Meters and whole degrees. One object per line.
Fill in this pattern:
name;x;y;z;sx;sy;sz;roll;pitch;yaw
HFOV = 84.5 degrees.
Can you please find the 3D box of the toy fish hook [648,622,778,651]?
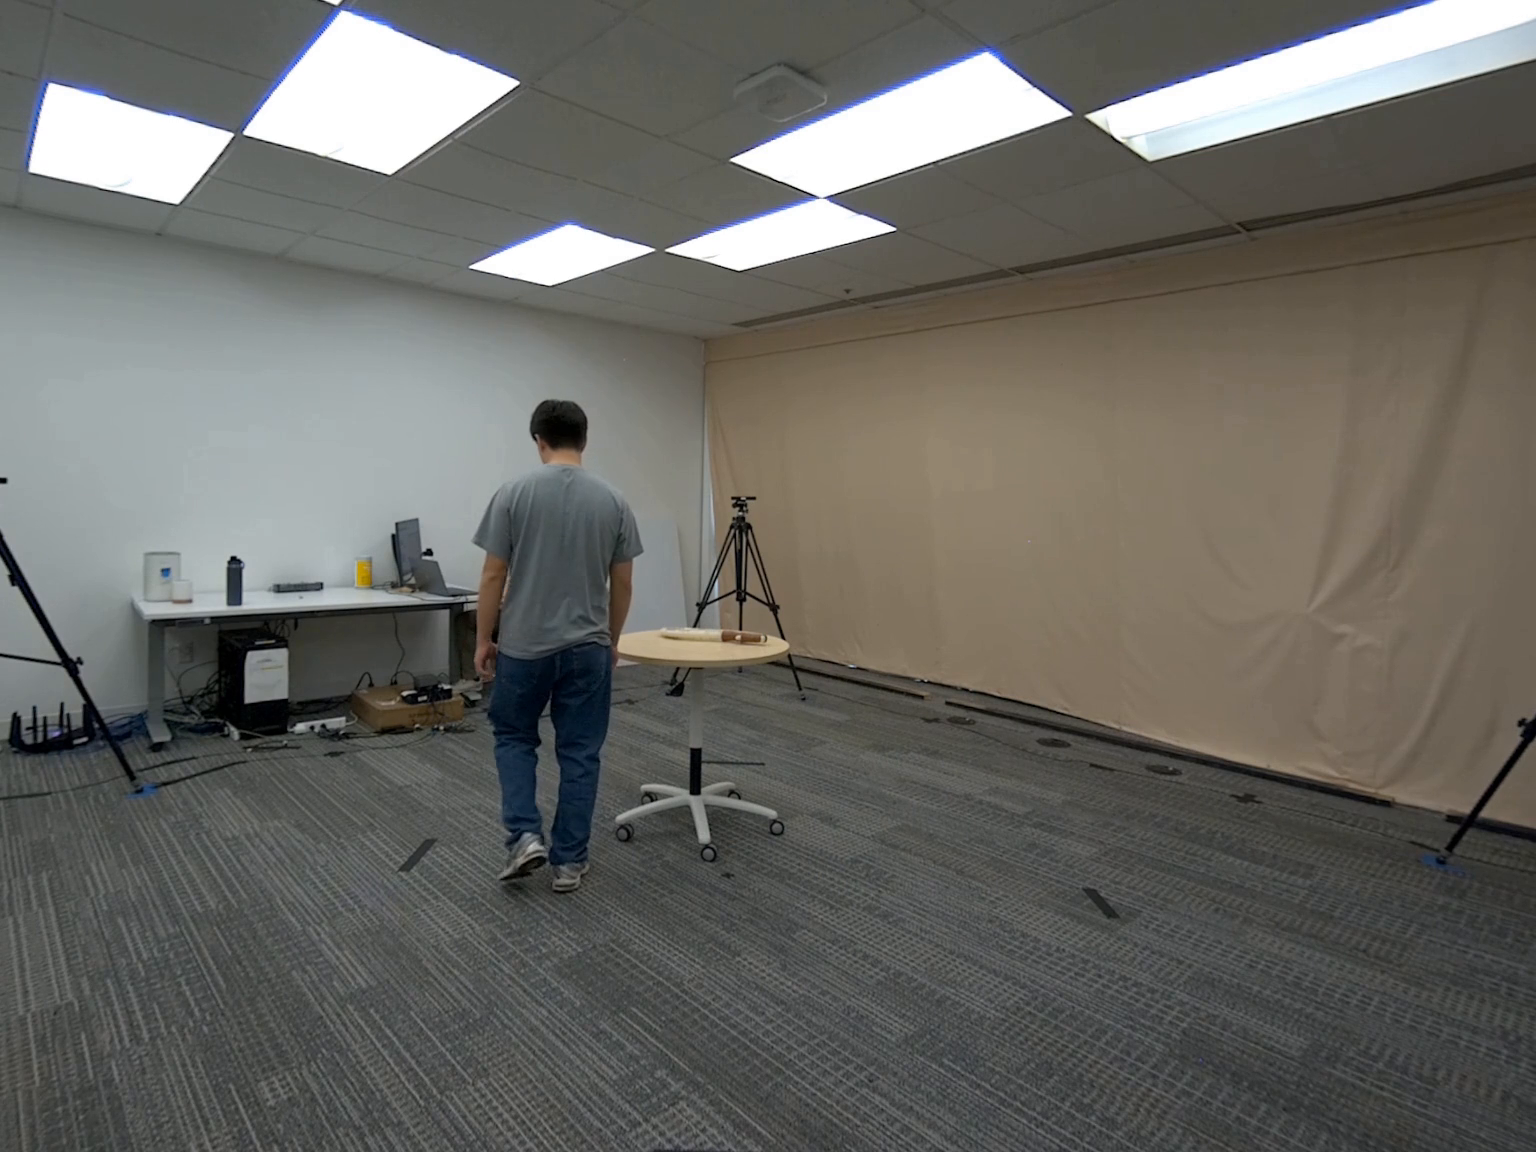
toy fish hook;-0.237;0.256;3.641;0.515;0.048;0.221;3;6;22
